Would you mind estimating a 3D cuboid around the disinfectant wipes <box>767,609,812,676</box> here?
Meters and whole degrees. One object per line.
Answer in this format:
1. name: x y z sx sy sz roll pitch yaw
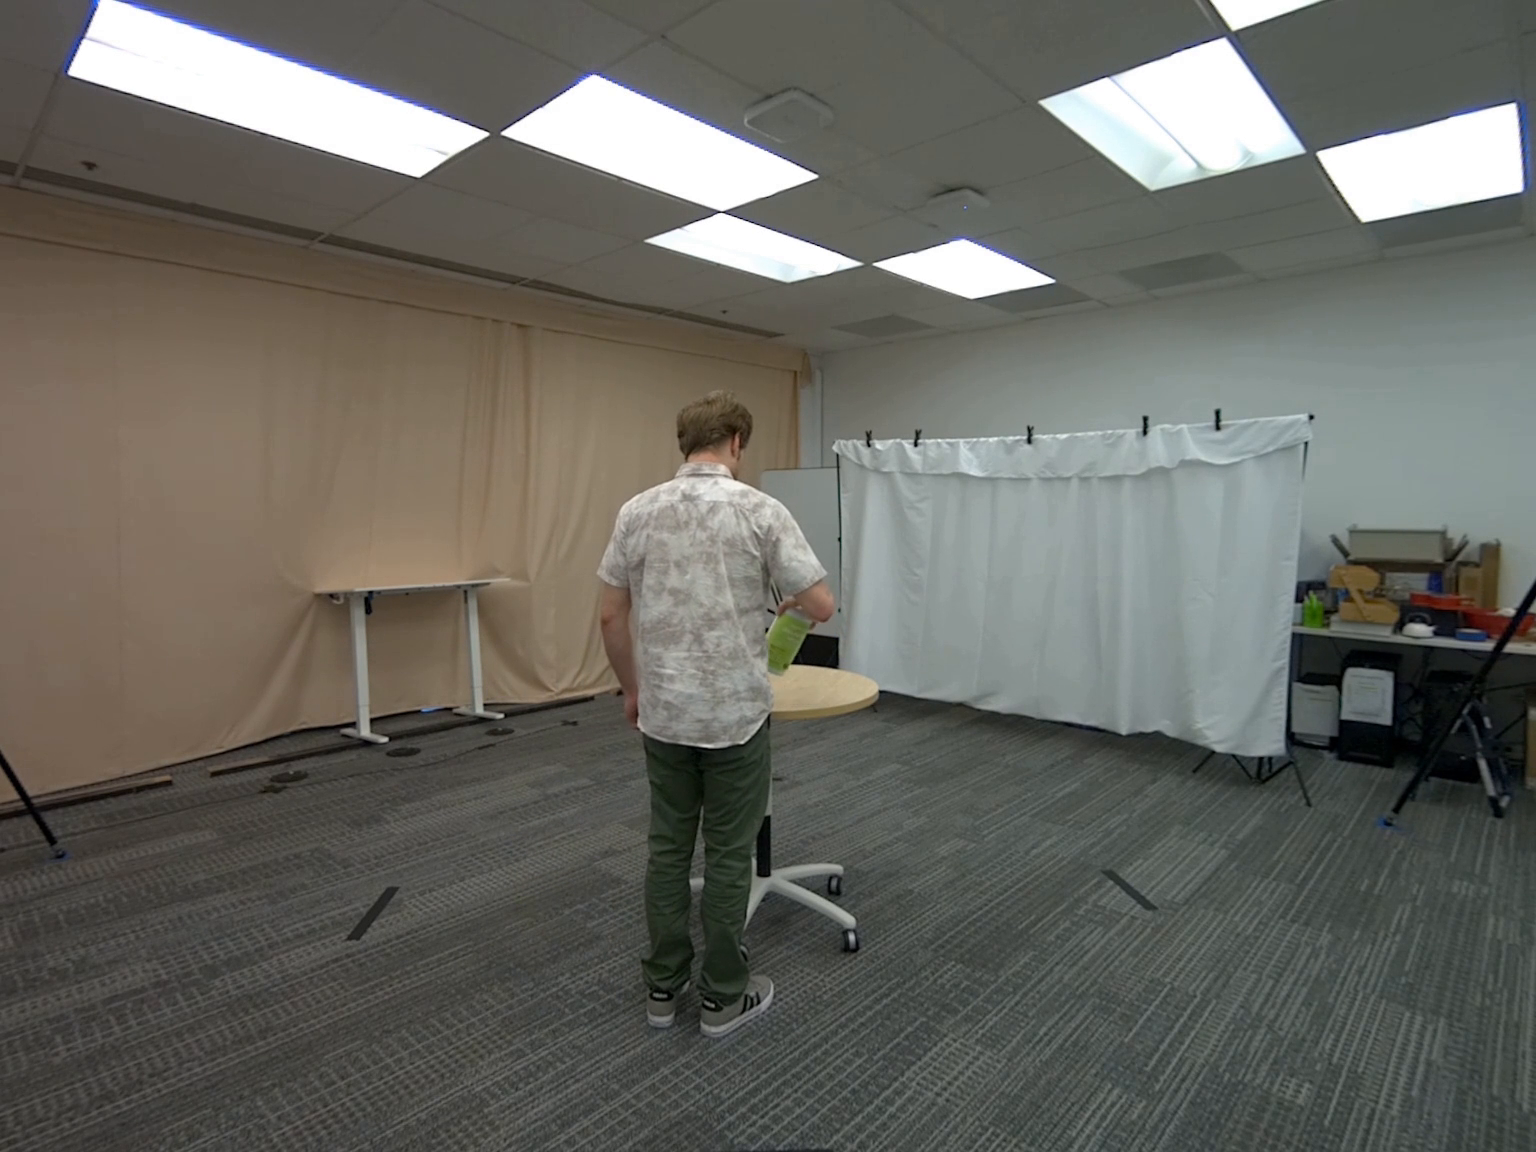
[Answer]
1. disinfectant wipes: 0.057 0.190 2.564 0.117 0.217 0.119 24 9 -6
